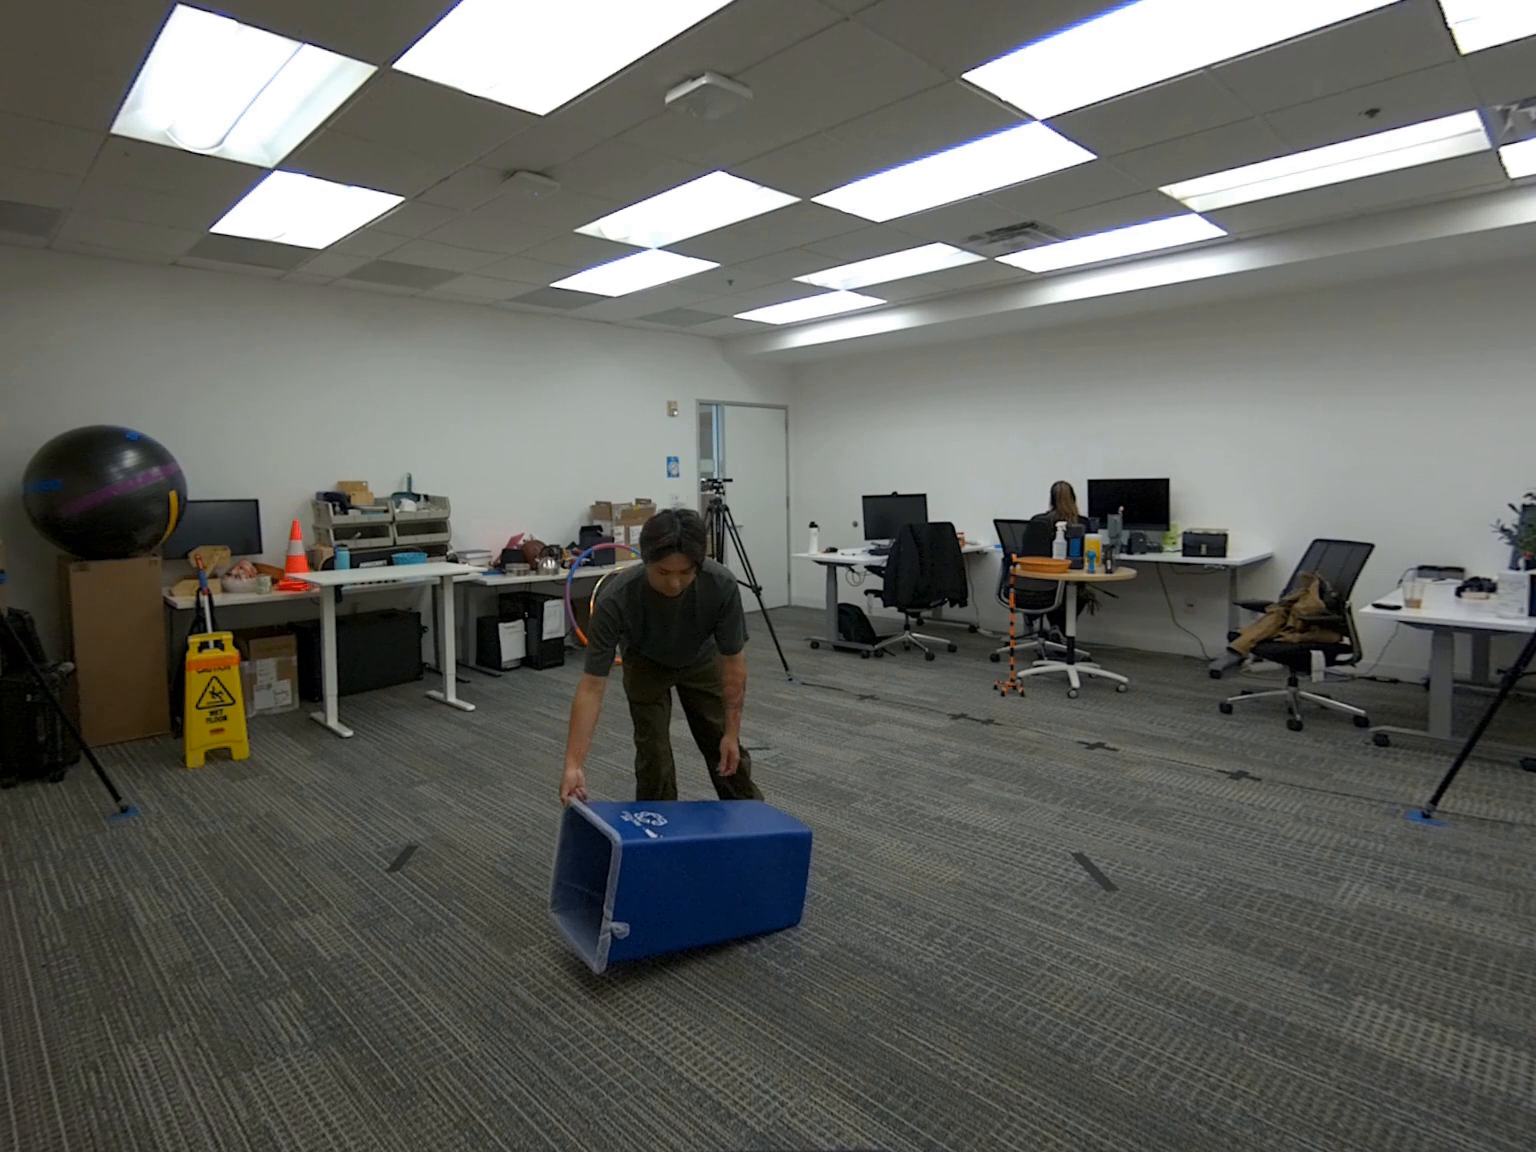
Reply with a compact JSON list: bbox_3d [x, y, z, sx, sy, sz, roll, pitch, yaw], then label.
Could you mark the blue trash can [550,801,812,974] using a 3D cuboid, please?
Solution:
[{"bbox_3d":[-0.246,0.887,2.605,0.693,0.374,0.389,6,1,-34],"label":"blue trash can"}]
